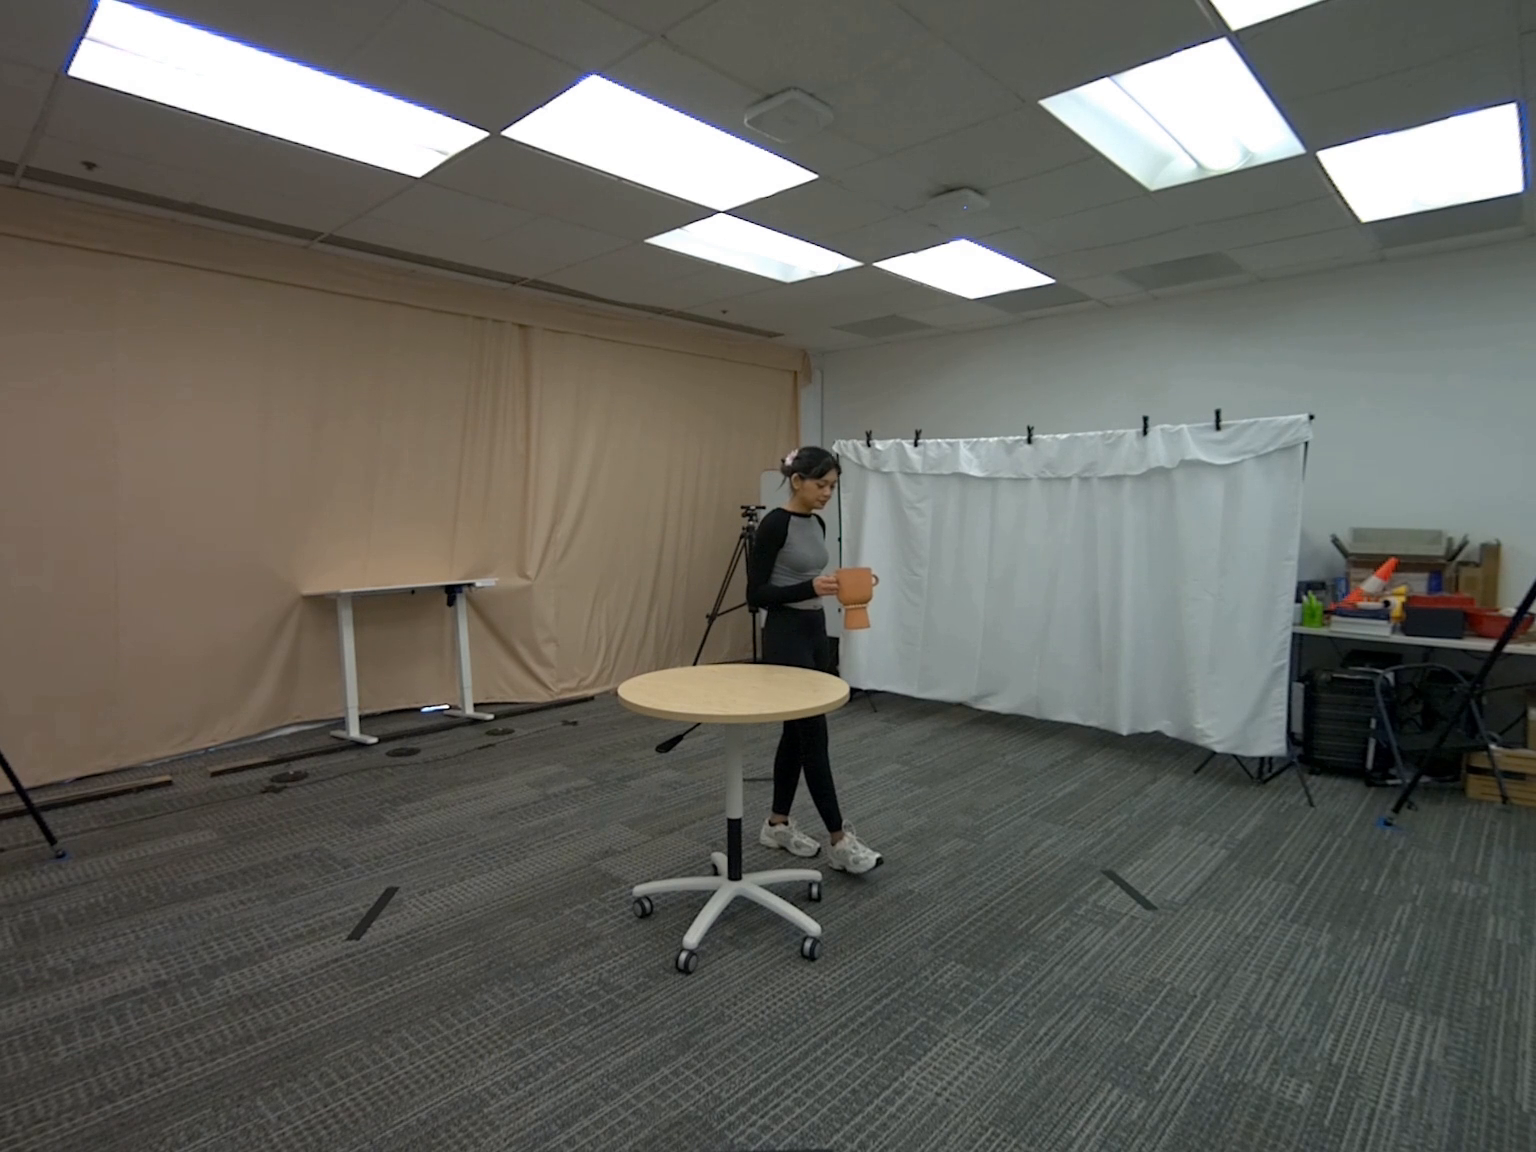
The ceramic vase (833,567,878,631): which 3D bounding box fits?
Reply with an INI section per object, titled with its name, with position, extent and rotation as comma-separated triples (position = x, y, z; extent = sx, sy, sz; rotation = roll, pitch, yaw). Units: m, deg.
[ceramic vase]
position = 0.328, 0.080, 3.098
extent = 0.162, 0.220, 0.131
rotation = -4, 0, 23
